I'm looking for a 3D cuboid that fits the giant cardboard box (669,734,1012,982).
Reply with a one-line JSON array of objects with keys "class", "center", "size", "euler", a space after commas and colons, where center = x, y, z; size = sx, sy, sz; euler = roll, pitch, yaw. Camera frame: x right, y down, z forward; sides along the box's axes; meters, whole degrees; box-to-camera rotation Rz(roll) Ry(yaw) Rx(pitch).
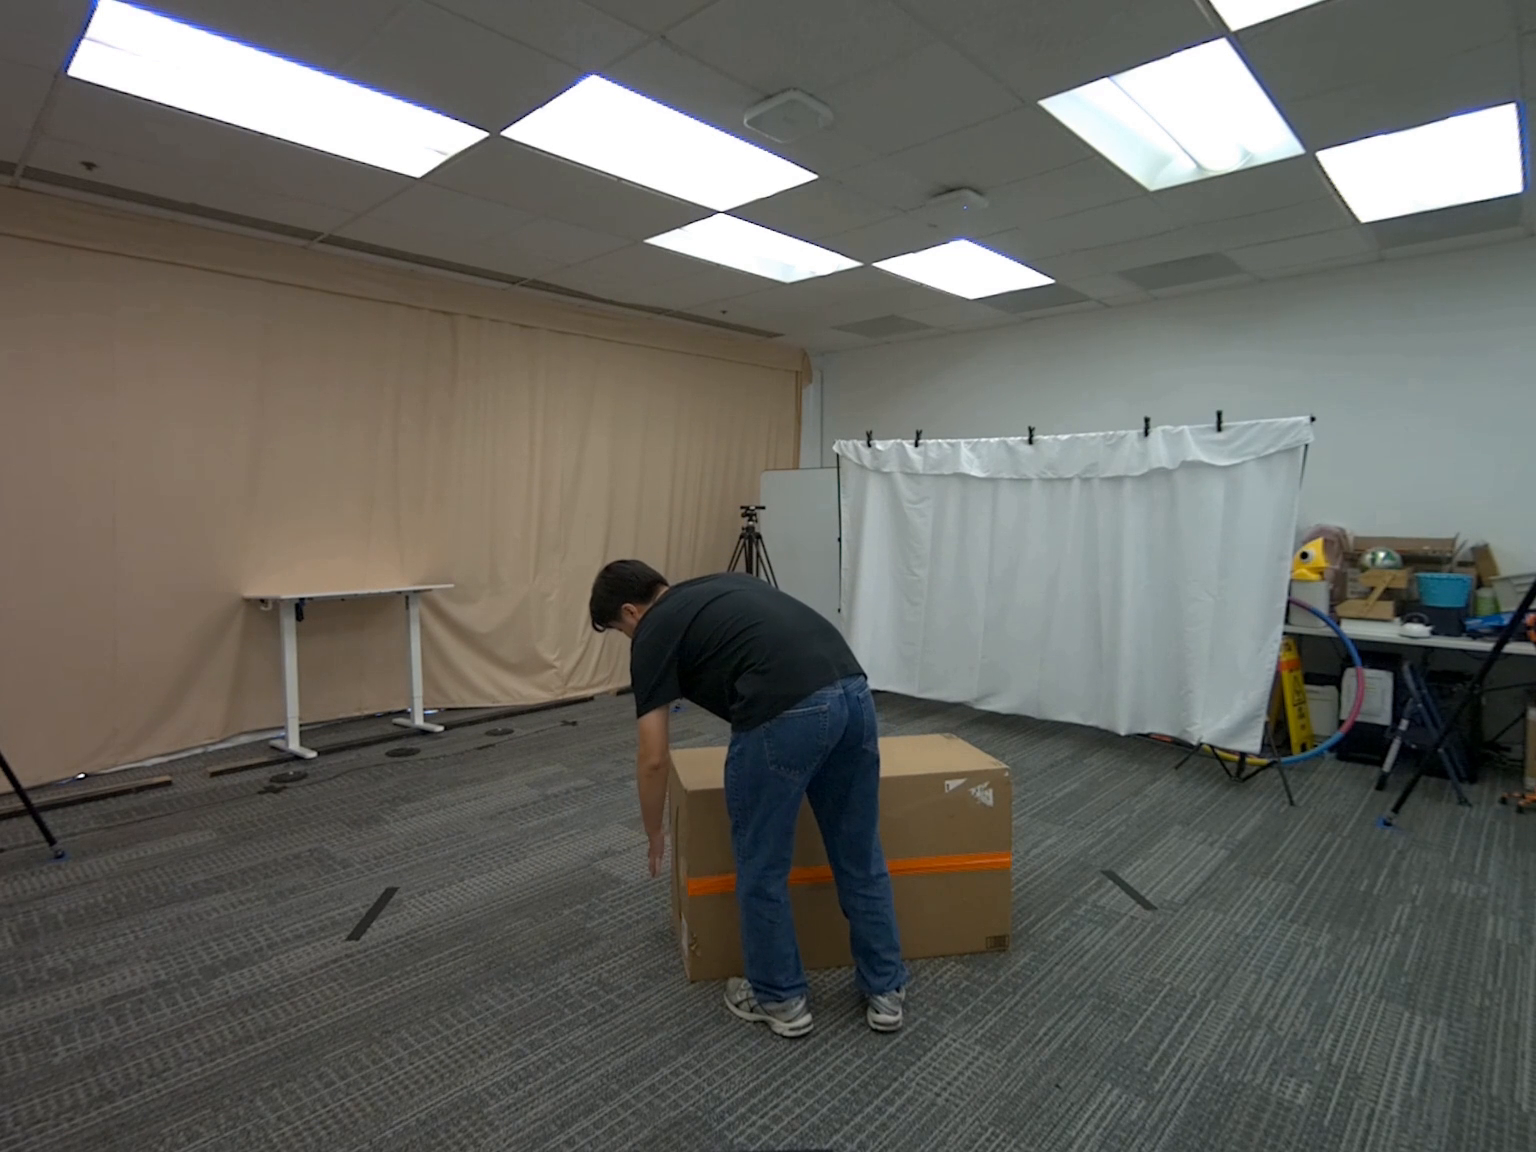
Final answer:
[{"class": "giant cardboard box", "center": [0.215, 0.875, 2.735], "size": [1.015, 0.582, 0.453], "euler": [-2, 5, -11]}]
